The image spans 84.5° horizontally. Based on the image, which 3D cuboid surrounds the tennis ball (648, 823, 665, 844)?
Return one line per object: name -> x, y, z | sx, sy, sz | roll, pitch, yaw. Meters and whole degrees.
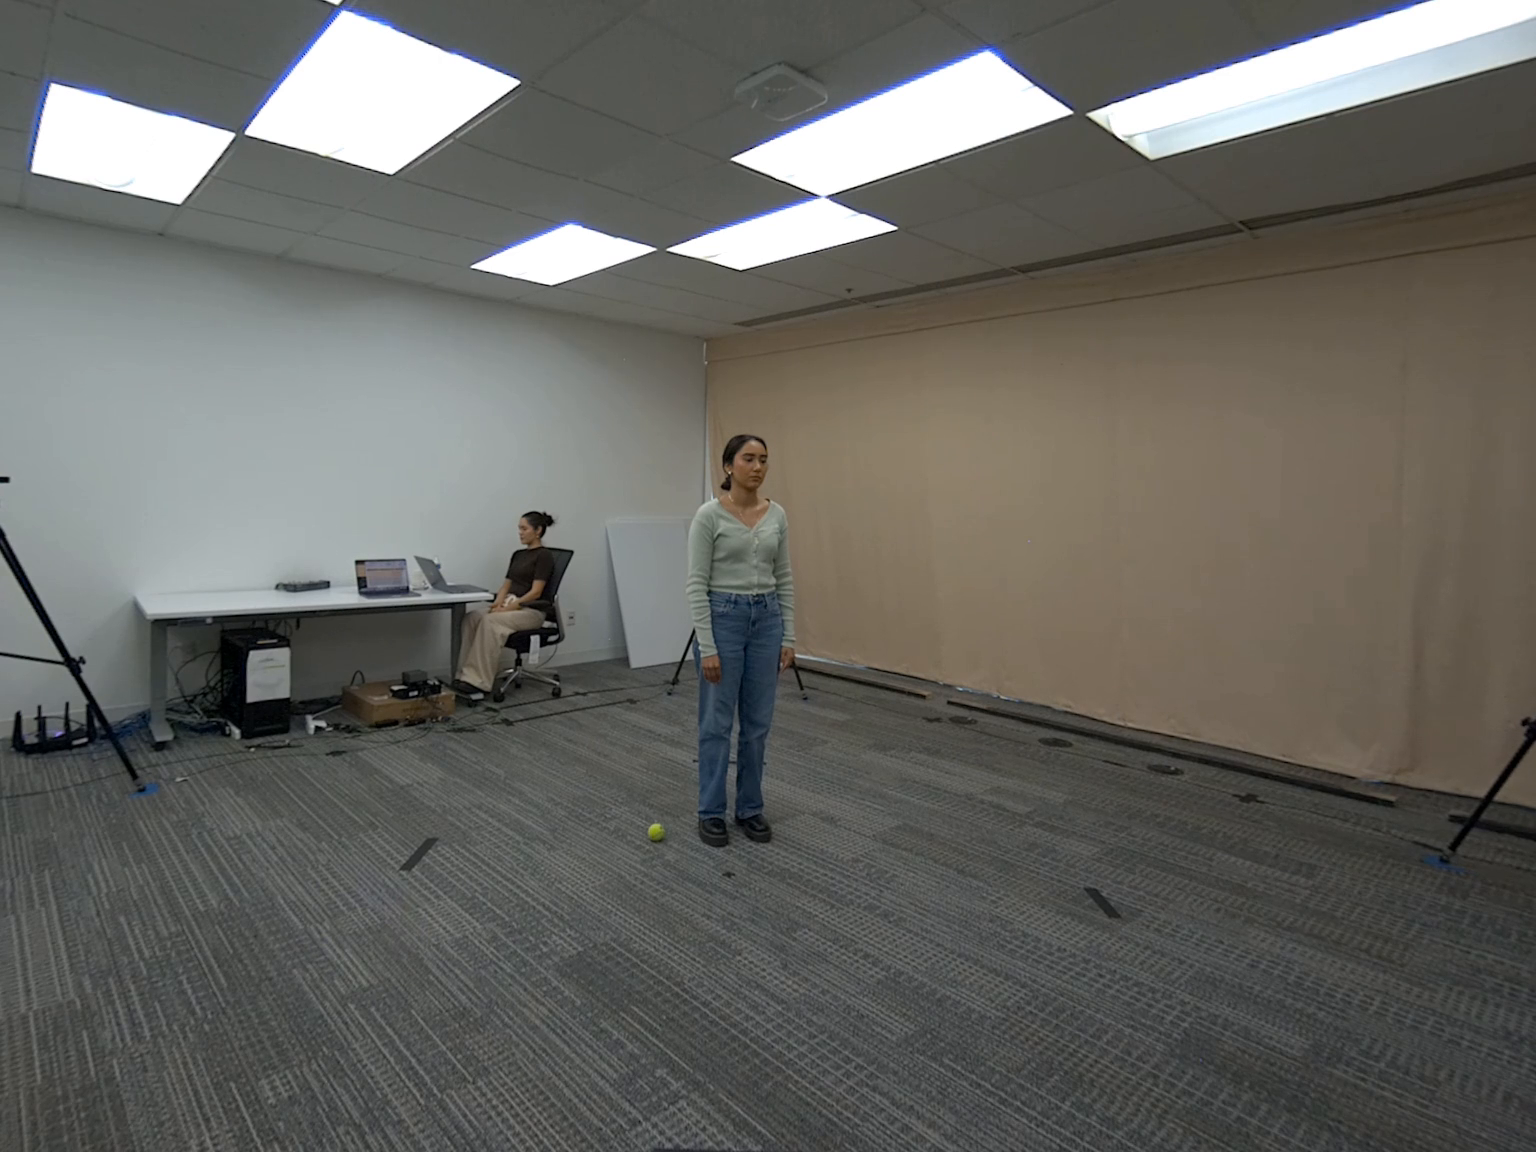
tennis ball -> -0.468, 1.023, 3.396 | 0.066, 0.066, 0.067 | 1, 4, -1
